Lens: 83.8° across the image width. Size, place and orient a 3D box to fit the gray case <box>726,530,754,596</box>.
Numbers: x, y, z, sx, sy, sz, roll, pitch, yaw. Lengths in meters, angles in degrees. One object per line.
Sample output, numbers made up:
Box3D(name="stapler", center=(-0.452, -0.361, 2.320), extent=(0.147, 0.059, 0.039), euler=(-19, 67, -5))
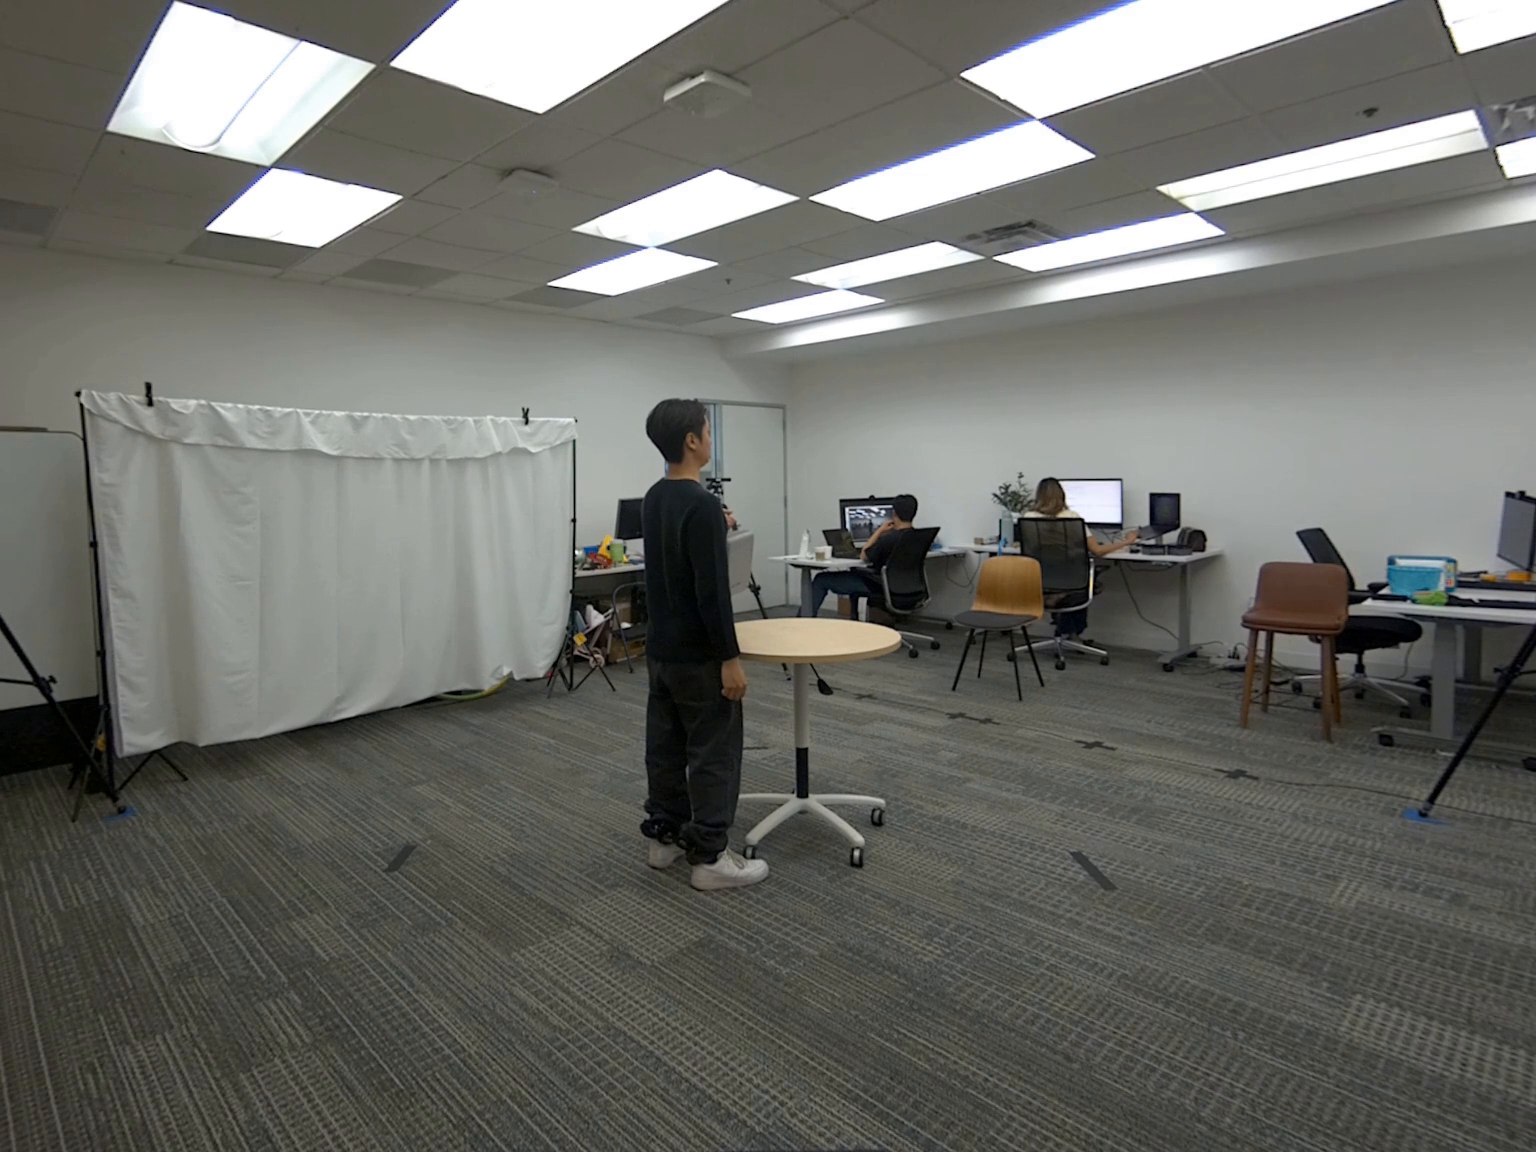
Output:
Box3D(name="gray case", center=(-0.158, -0.051, 3.459), extent=(0.107, 0.258, 0.253), euler=(12, 14, 20))
